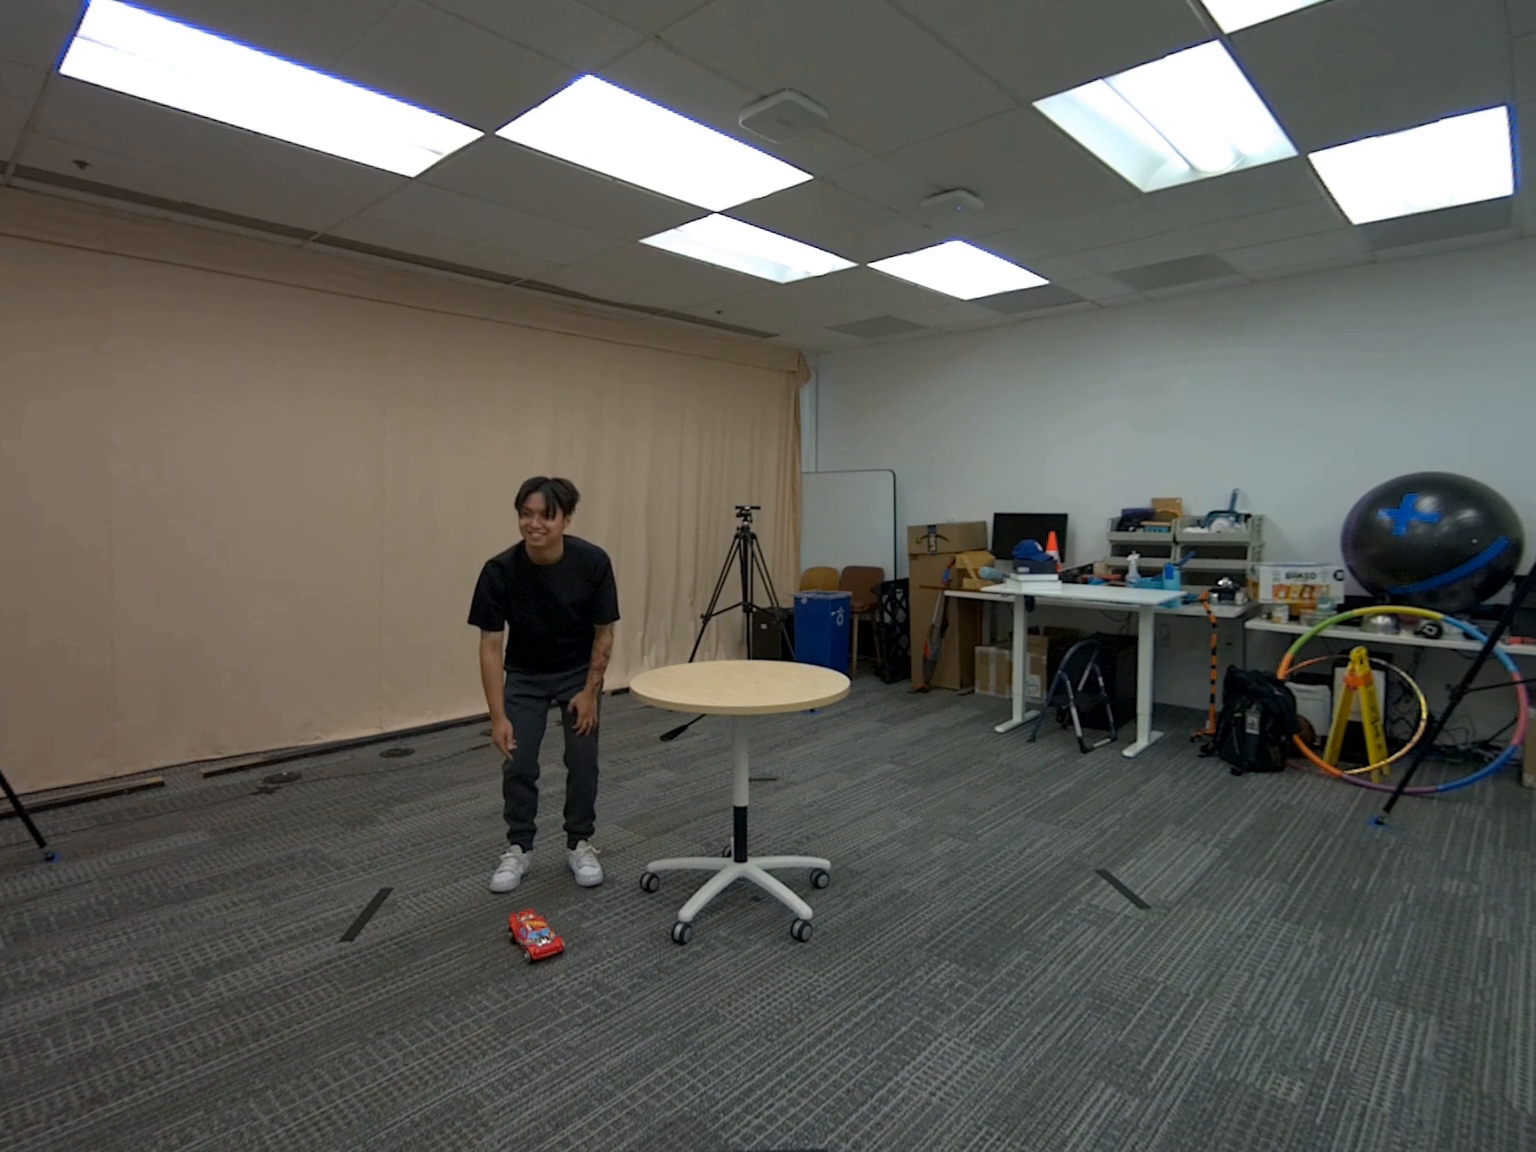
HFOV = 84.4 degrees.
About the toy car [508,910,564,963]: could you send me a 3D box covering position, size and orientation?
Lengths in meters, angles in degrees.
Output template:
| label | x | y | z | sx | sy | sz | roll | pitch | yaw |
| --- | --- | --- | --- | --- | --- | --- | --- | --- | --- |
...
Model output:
| label | x | y | z | sx | sy | sz | roll | pitch | yaw |
| --- | --- | --- | --- | --- | --- | --- | --- | --- | --- |
| toy car | -0.749 | 1.147 | 2.671 | 0.127 | 0.082 | 0.264 | -5 | 17 | -35 |
